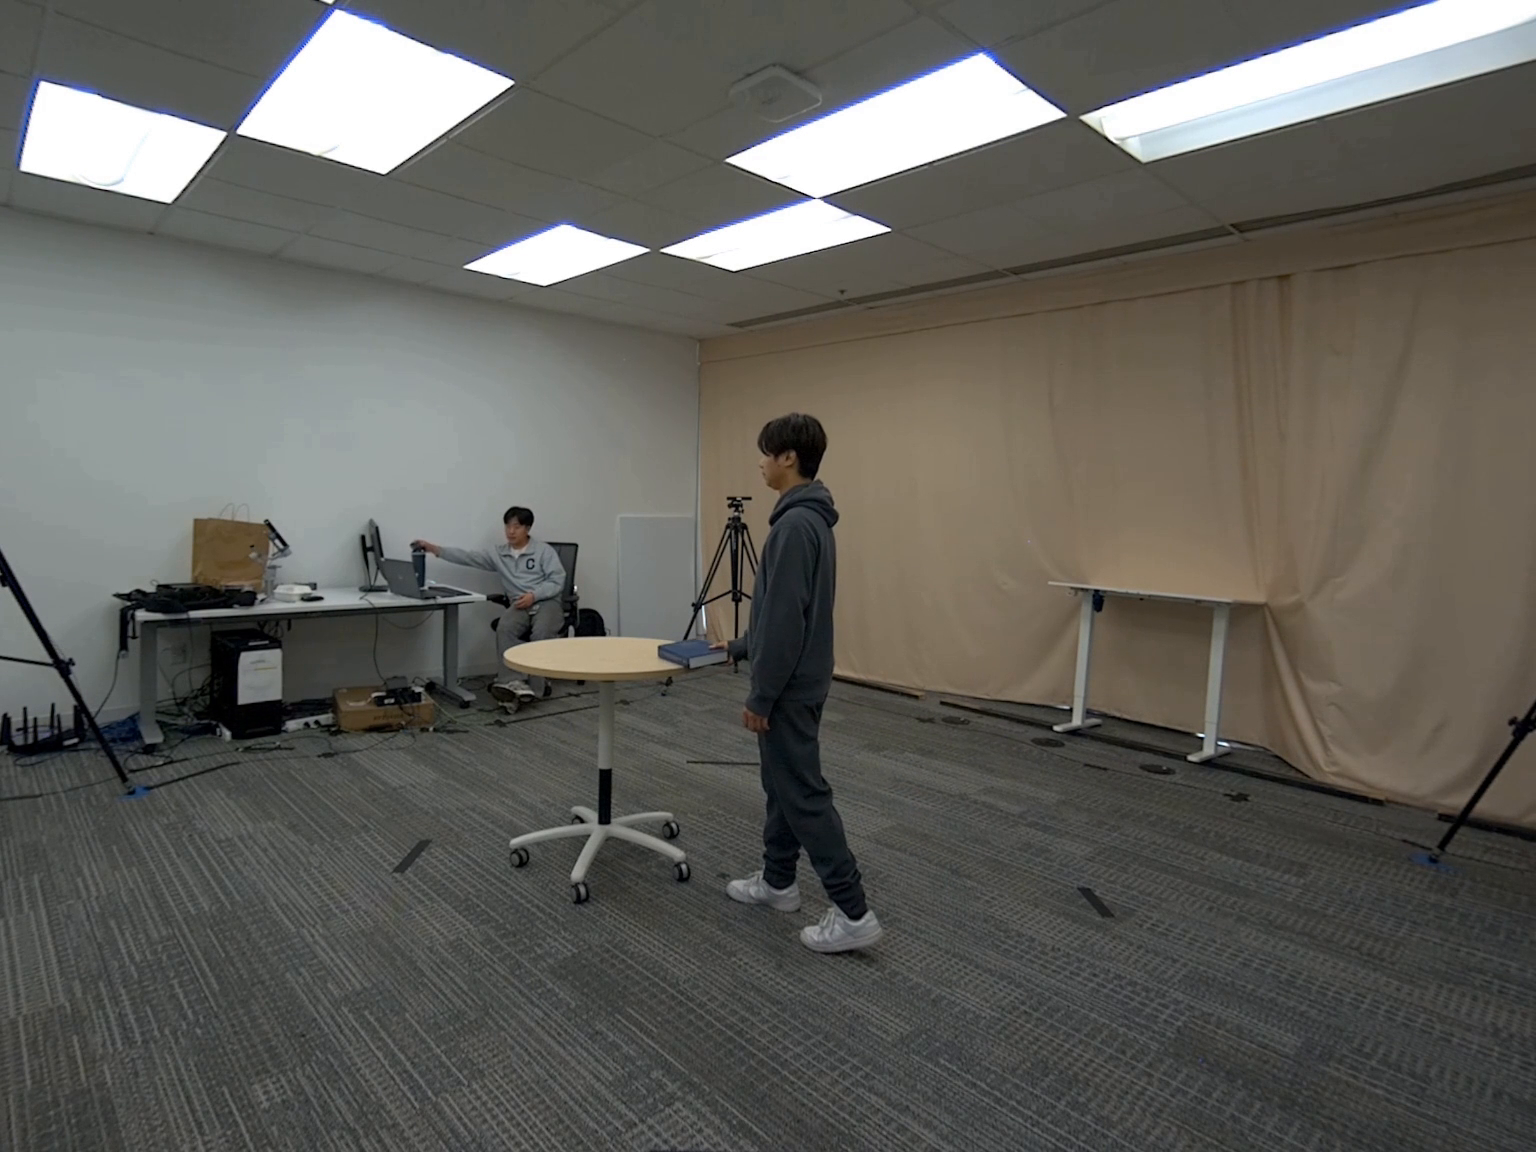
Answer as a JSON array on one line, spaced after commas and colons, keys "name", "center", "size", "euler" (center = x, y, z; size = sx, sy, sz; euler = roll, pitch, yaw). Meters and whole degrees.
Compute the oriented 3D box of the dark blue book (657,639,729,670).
[{"name": "dark blue book", "center": [-0.283, 0.280, 3.054], "size": [0.160, 0.045, 0.251], "euler": [-7, 9, -29]}]
